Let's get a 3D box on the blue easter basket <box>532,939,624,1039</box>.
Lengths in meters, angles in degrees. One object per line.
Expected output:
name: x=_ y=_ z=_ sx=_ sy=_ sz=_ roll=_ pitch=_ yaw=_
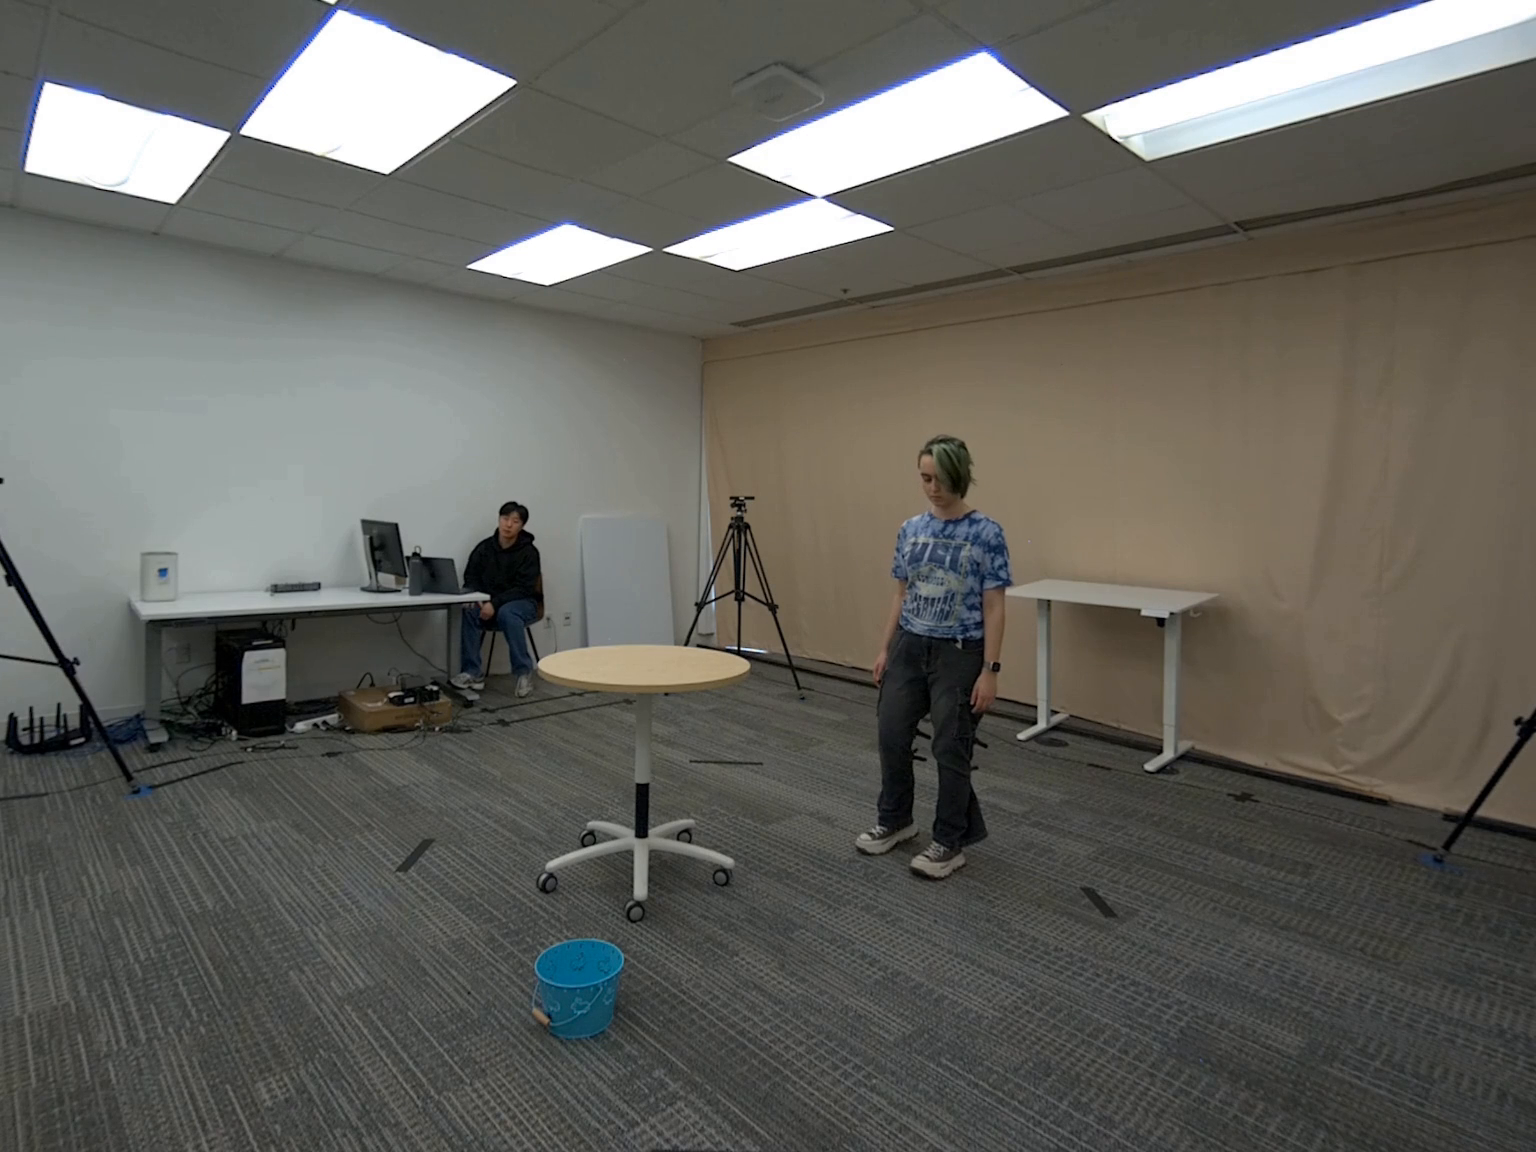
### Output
blue easter basket: x=-0.513 y=1.101 z=2.232 sx=0.243 sy=0.155 sz=0.244 roll=1 pitch=4 yaw=-1
